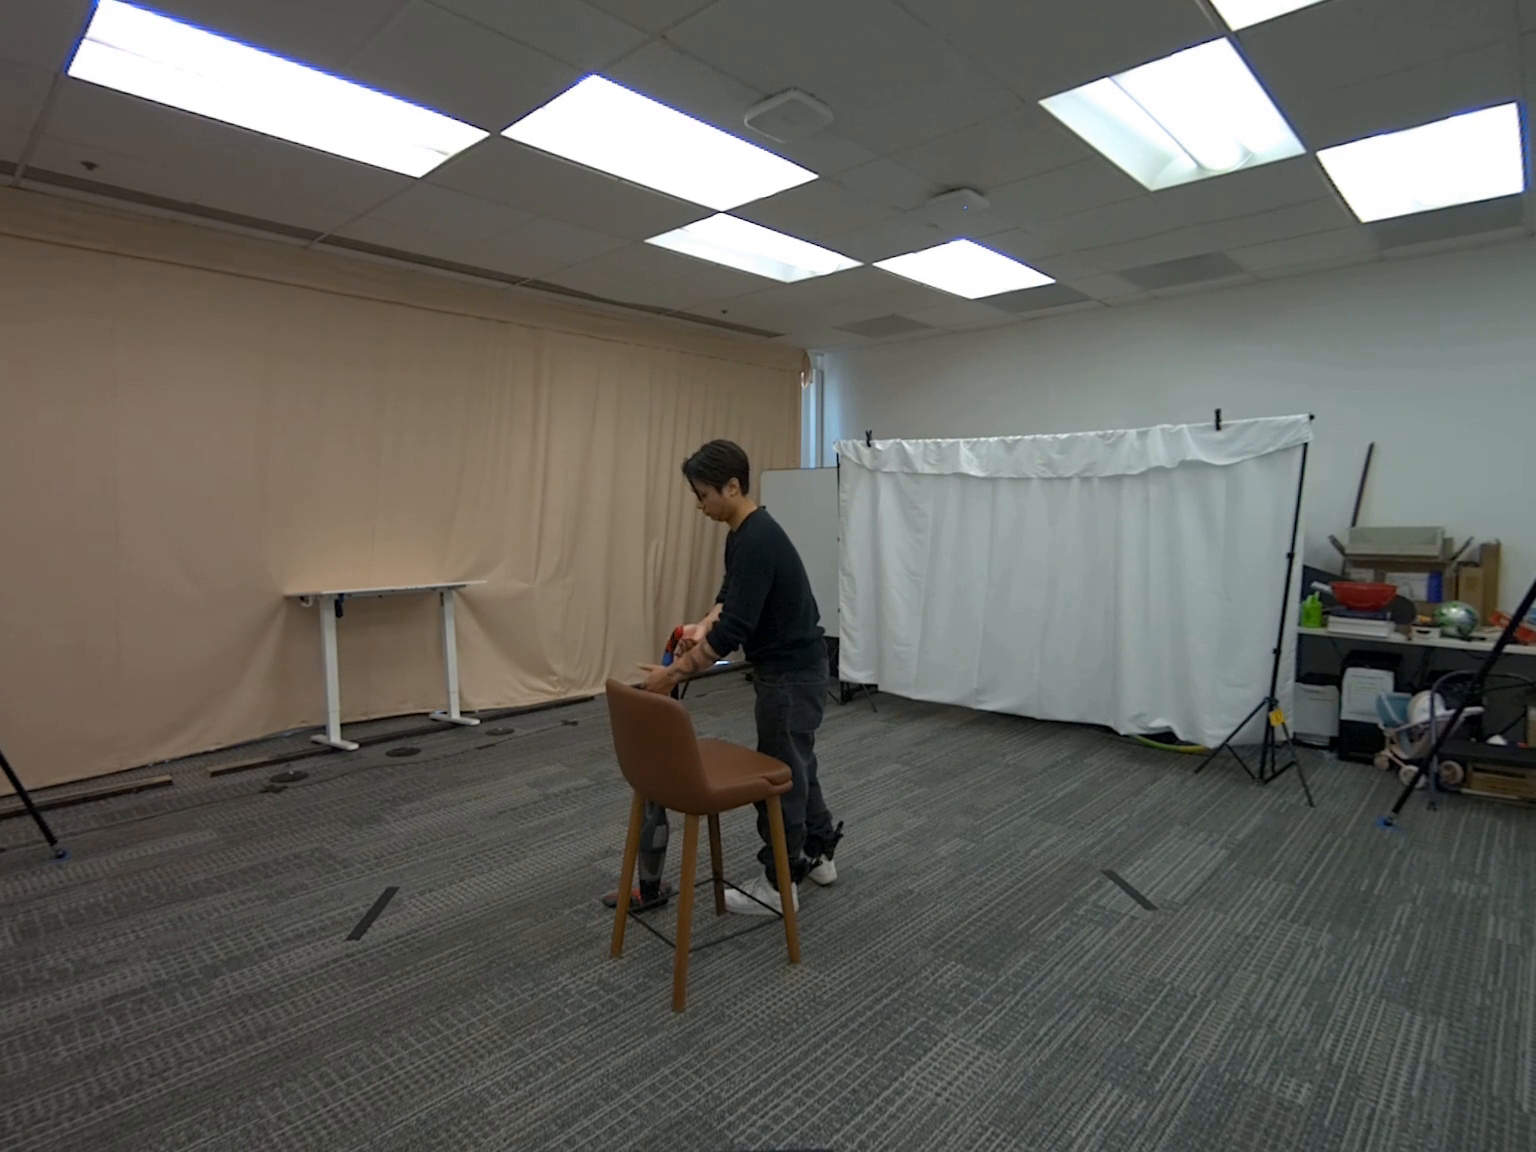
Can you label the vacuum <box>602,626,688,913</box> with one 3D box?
[{"bbox_3d":[-0.364,0.666,2.811,0.245,1.042,0.149,-1,19,-32],"label":"vacuum"}]
